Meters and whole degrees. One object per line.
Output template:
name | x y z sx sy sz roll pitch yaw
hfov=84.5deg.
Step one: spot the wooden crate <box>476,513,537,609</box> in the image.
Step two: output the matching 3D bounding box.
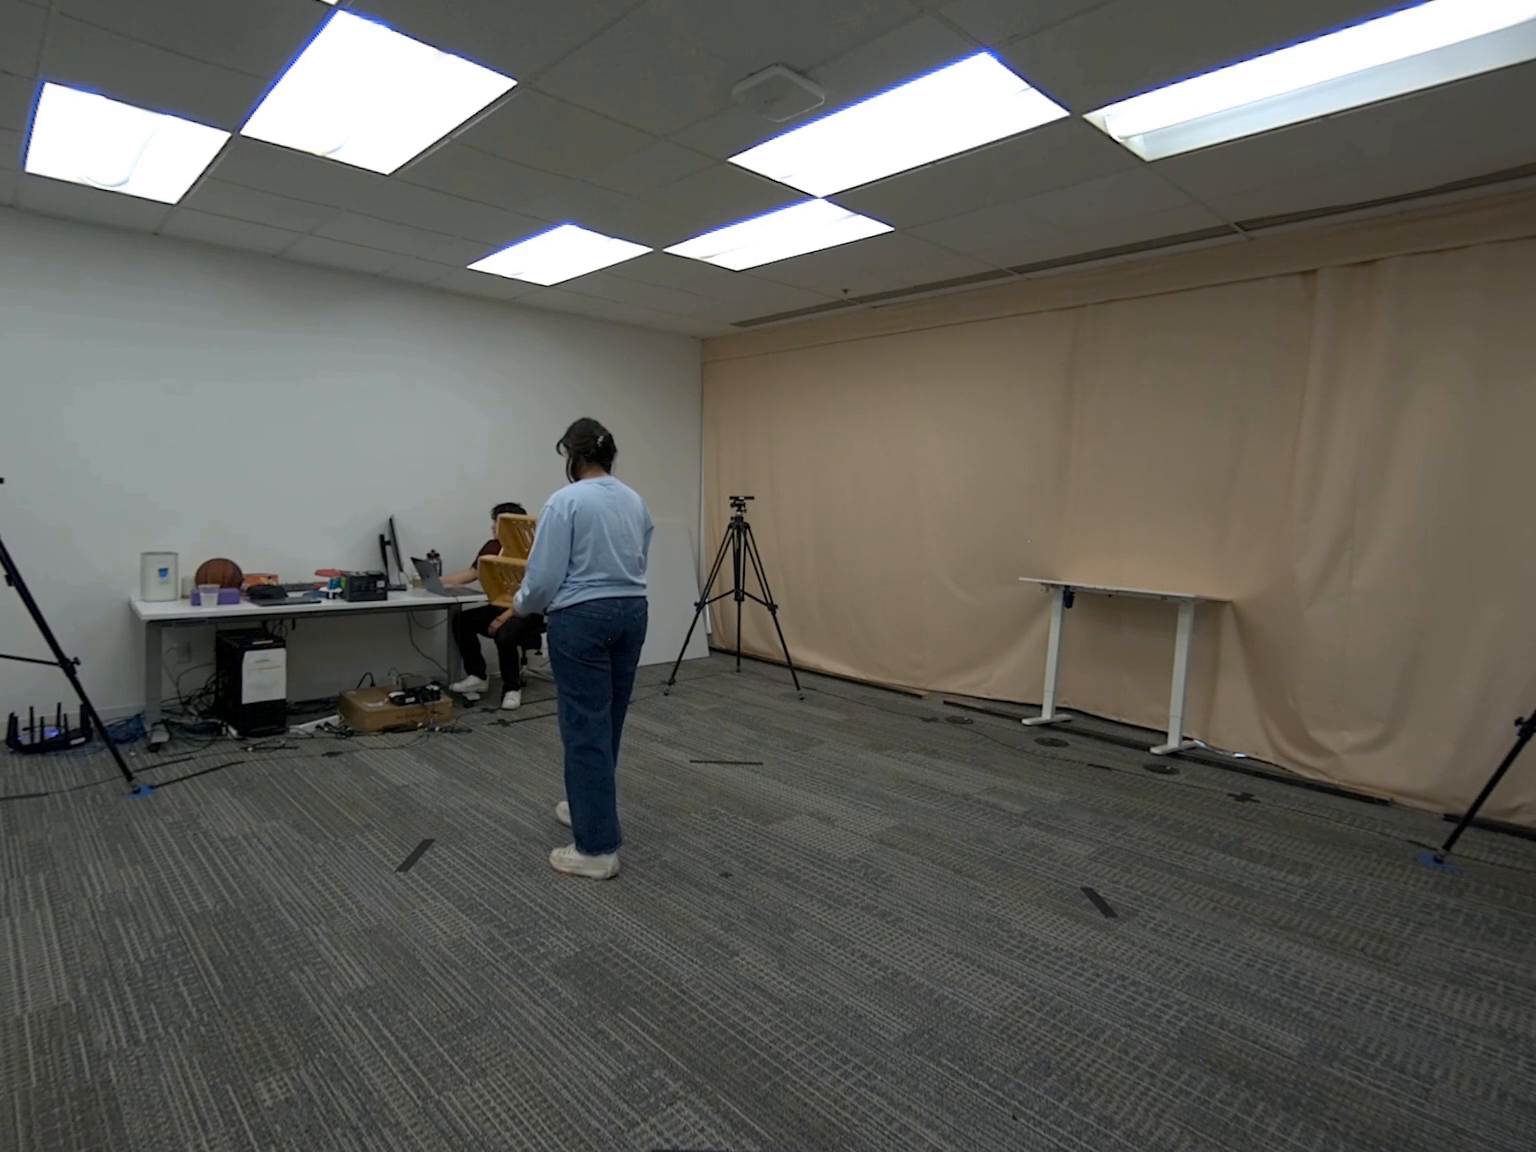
wooden crate | -0.990 -0.060 3.384 0.332 0.294 0.274 7 38 30
